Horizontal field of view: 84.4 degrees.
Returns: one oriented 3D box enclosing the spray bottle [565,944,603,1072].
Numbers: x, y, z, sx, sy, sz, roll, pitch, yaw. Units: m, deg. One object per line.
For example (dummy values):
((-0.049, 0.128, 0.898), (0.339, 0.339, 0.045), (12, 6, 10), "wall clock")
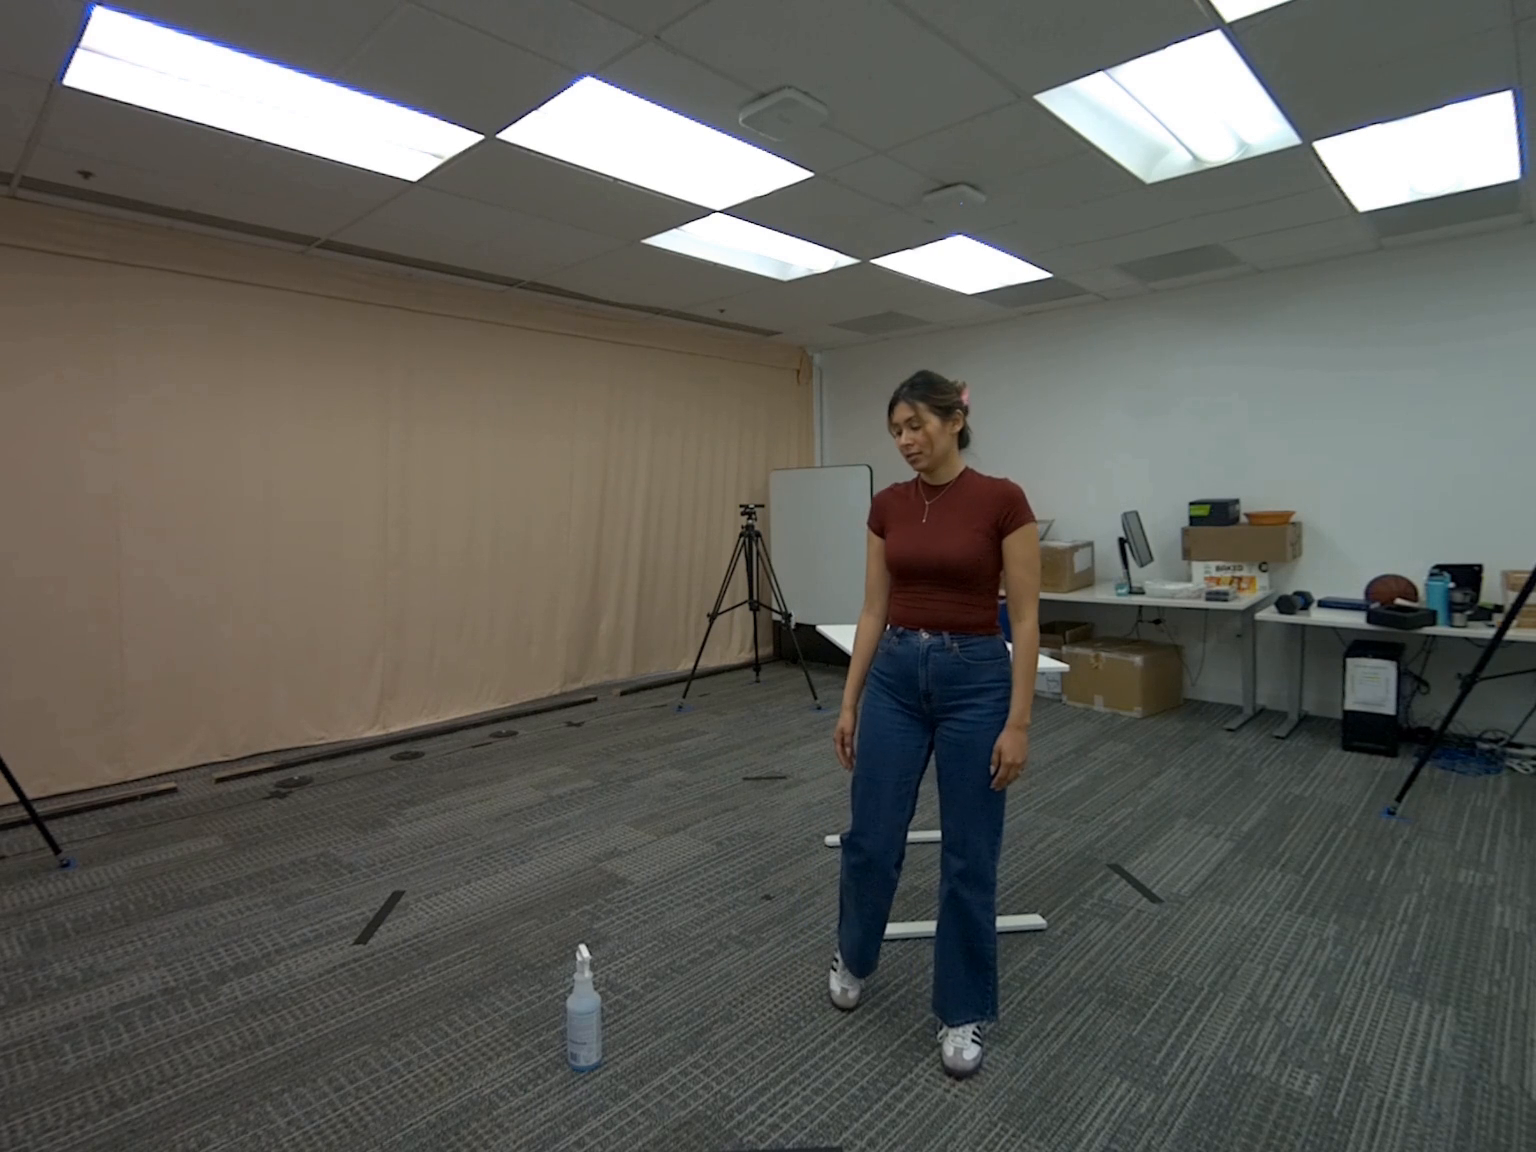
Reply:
((-0.459, 1.085, 2.109), (0.087, 0.297, 0.090), (-1, 1, 2), "spray bottle")
